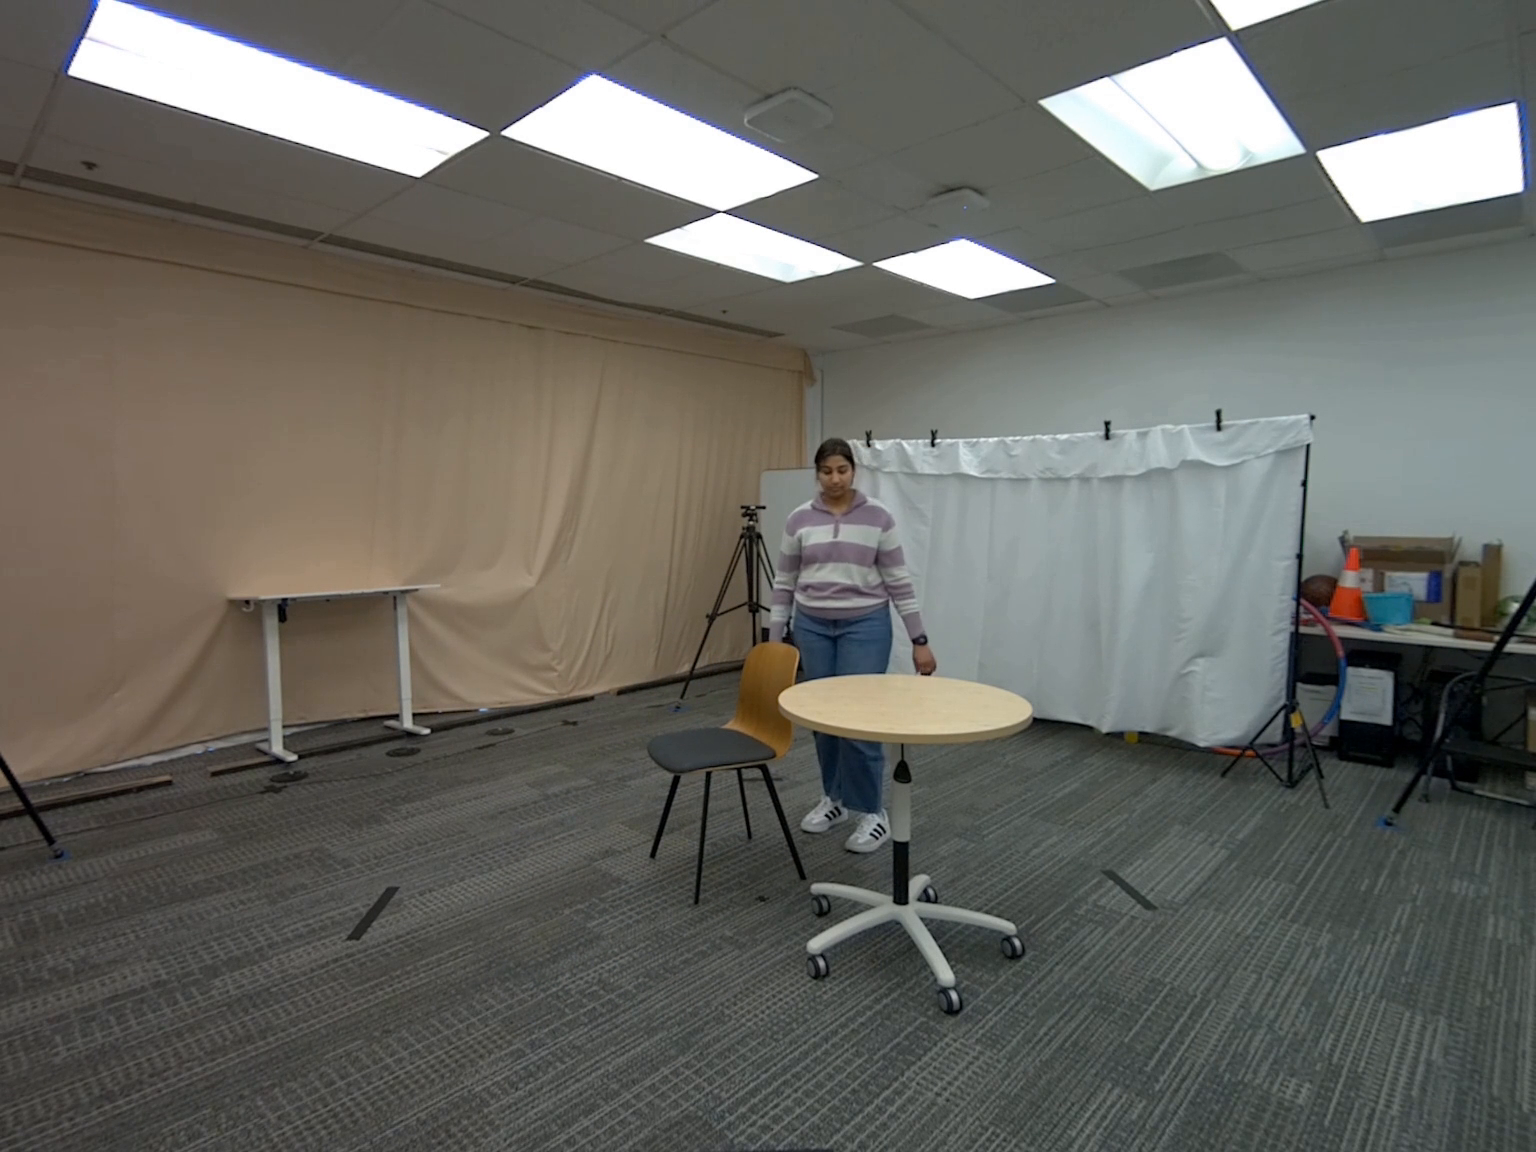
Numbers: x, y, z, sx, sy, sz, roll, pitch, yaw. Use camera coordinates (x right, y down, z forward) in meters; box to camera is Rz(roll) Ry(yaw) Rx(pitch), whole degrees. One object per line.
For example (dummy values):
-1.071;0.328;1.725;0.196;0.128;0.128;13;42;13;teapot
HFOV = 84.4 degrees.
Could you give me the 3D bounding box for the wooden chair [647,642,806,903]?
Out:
-0.172;0.698;3.201;0.509;0.877;0.491;3;2;-27;wooden chair
